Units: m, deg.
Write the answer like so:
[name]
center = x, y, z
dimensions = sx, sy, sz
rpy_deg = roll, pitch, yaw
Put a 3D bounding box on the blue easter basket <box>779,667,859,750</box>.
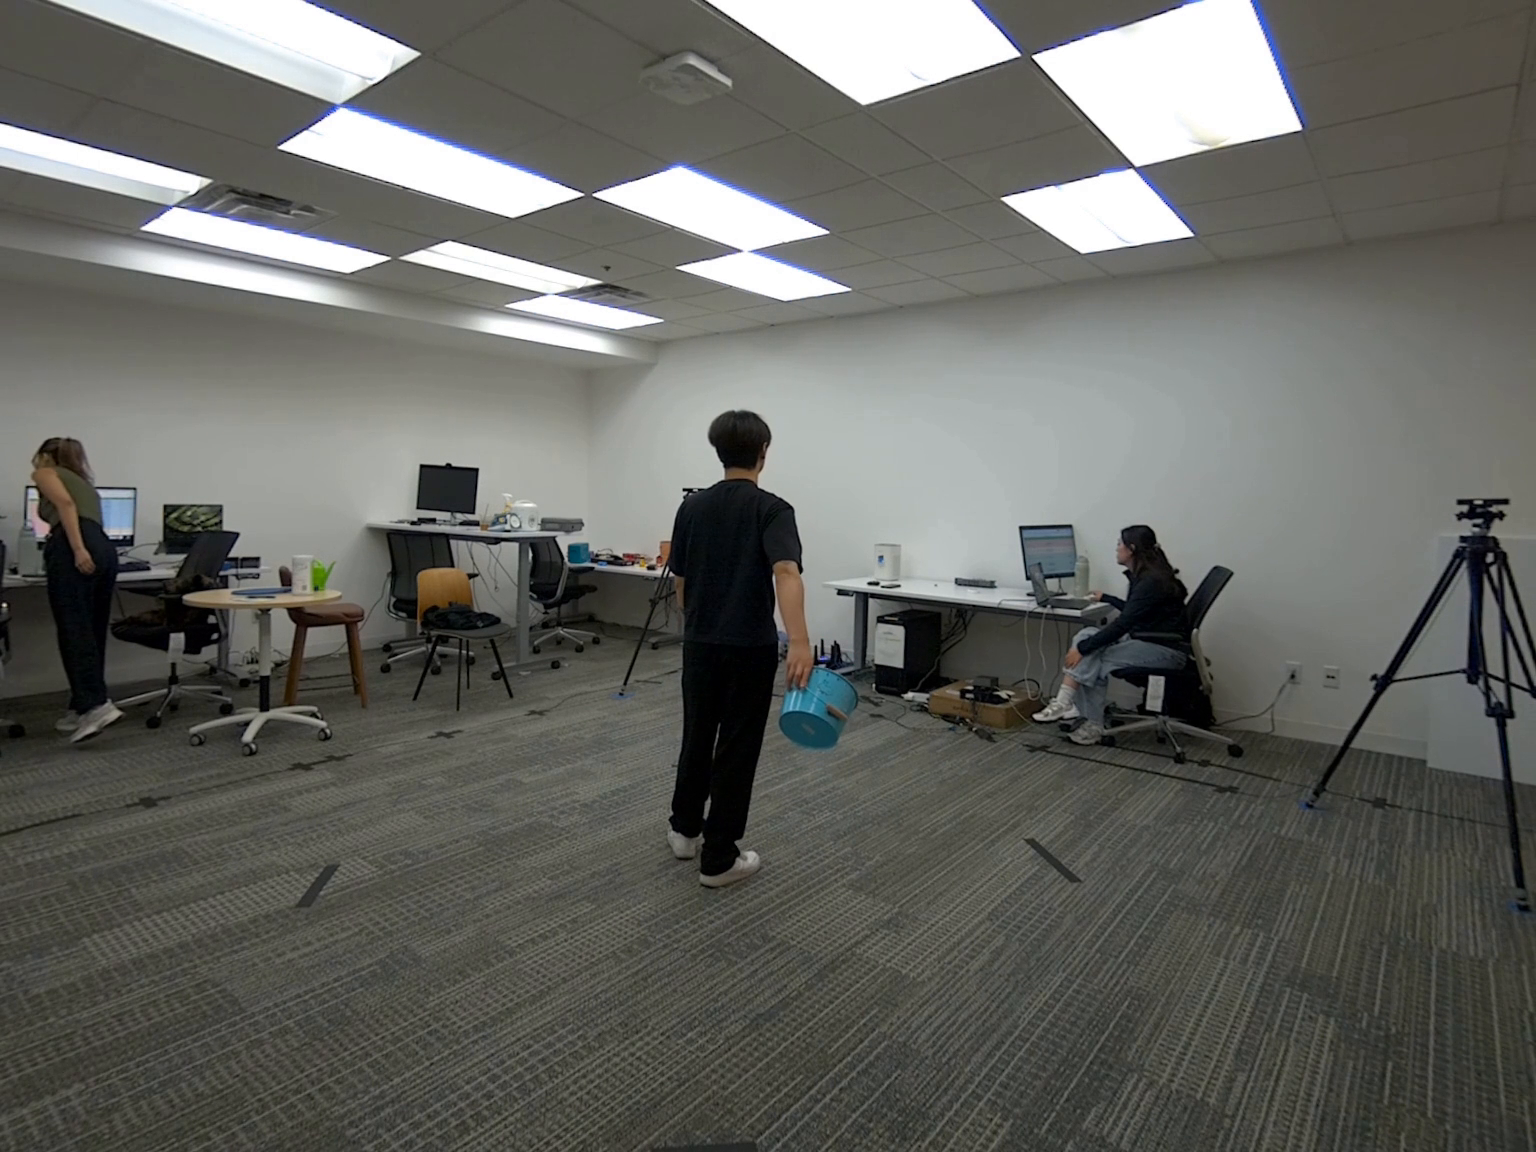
[blue easter basket]
center = 0.135, 0.401, 2.562
dimensions = 0.249, 0.235, 0.157
rpy_deg = 3, 40, 22
